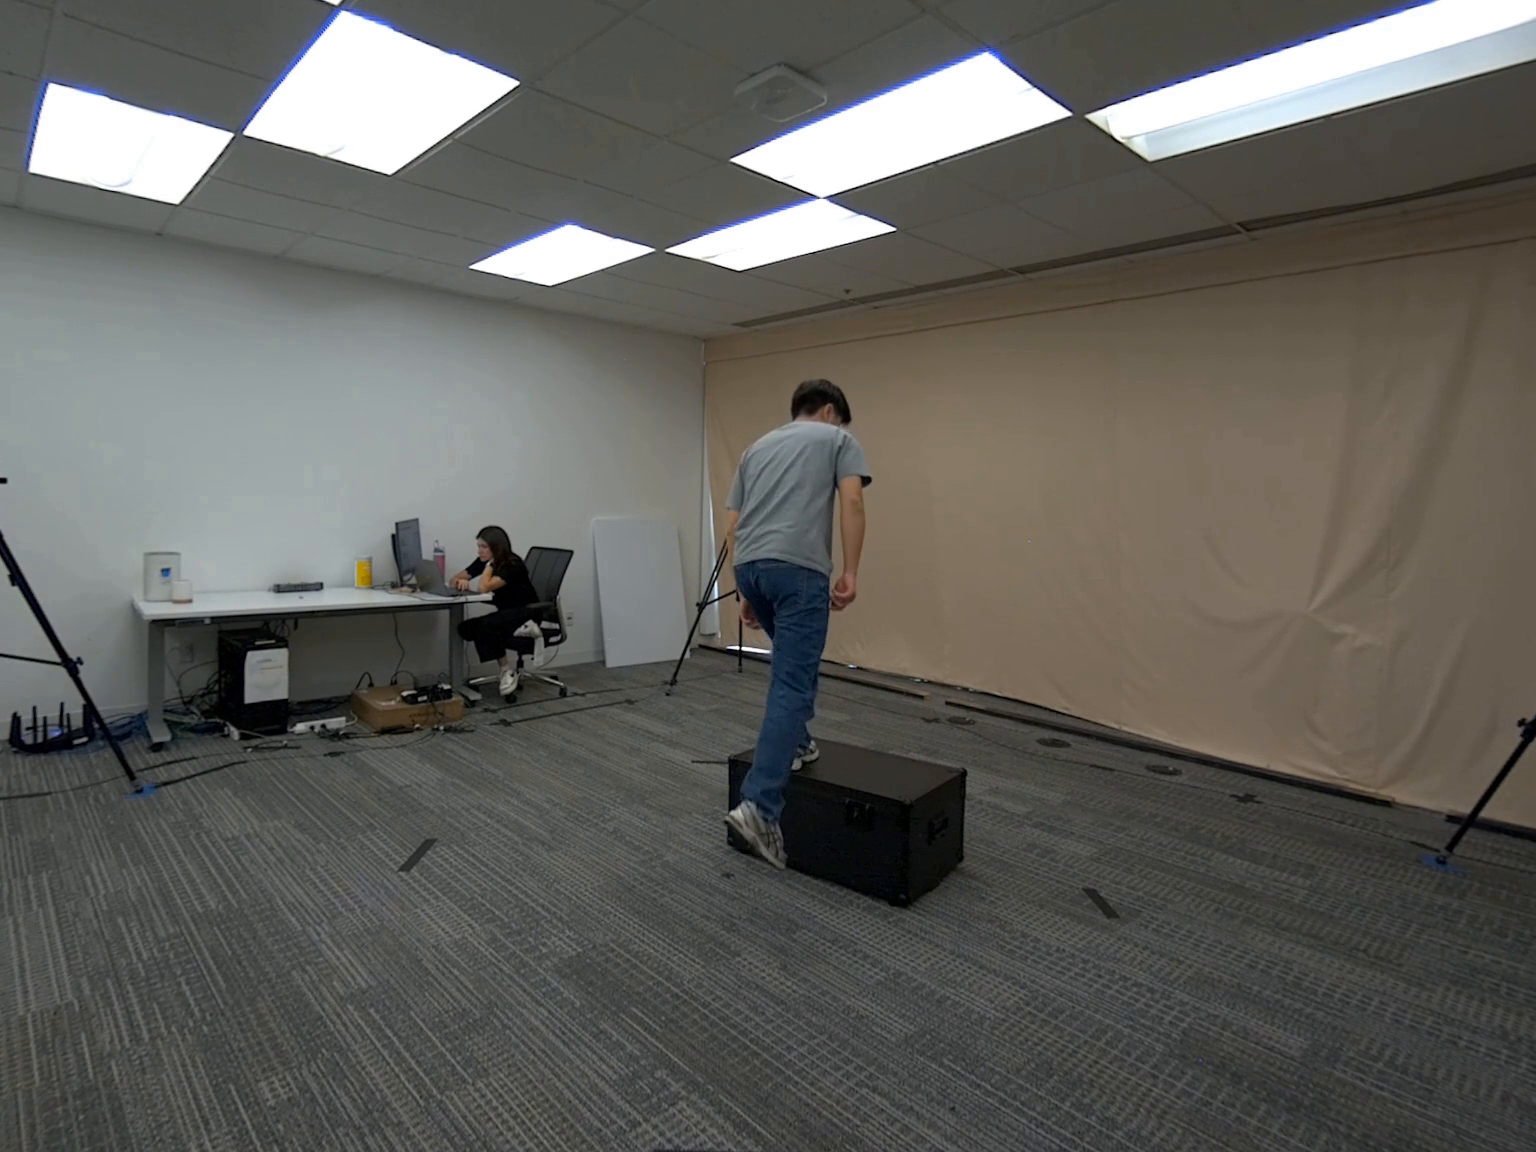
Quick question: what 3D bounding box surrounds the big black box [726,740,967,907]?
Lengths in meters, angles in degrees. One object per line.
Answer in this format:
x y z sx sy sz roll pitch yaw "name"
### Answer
0.264 0.909 3.291 0.883 0.395 0.510 5 6 37 "big black box"
